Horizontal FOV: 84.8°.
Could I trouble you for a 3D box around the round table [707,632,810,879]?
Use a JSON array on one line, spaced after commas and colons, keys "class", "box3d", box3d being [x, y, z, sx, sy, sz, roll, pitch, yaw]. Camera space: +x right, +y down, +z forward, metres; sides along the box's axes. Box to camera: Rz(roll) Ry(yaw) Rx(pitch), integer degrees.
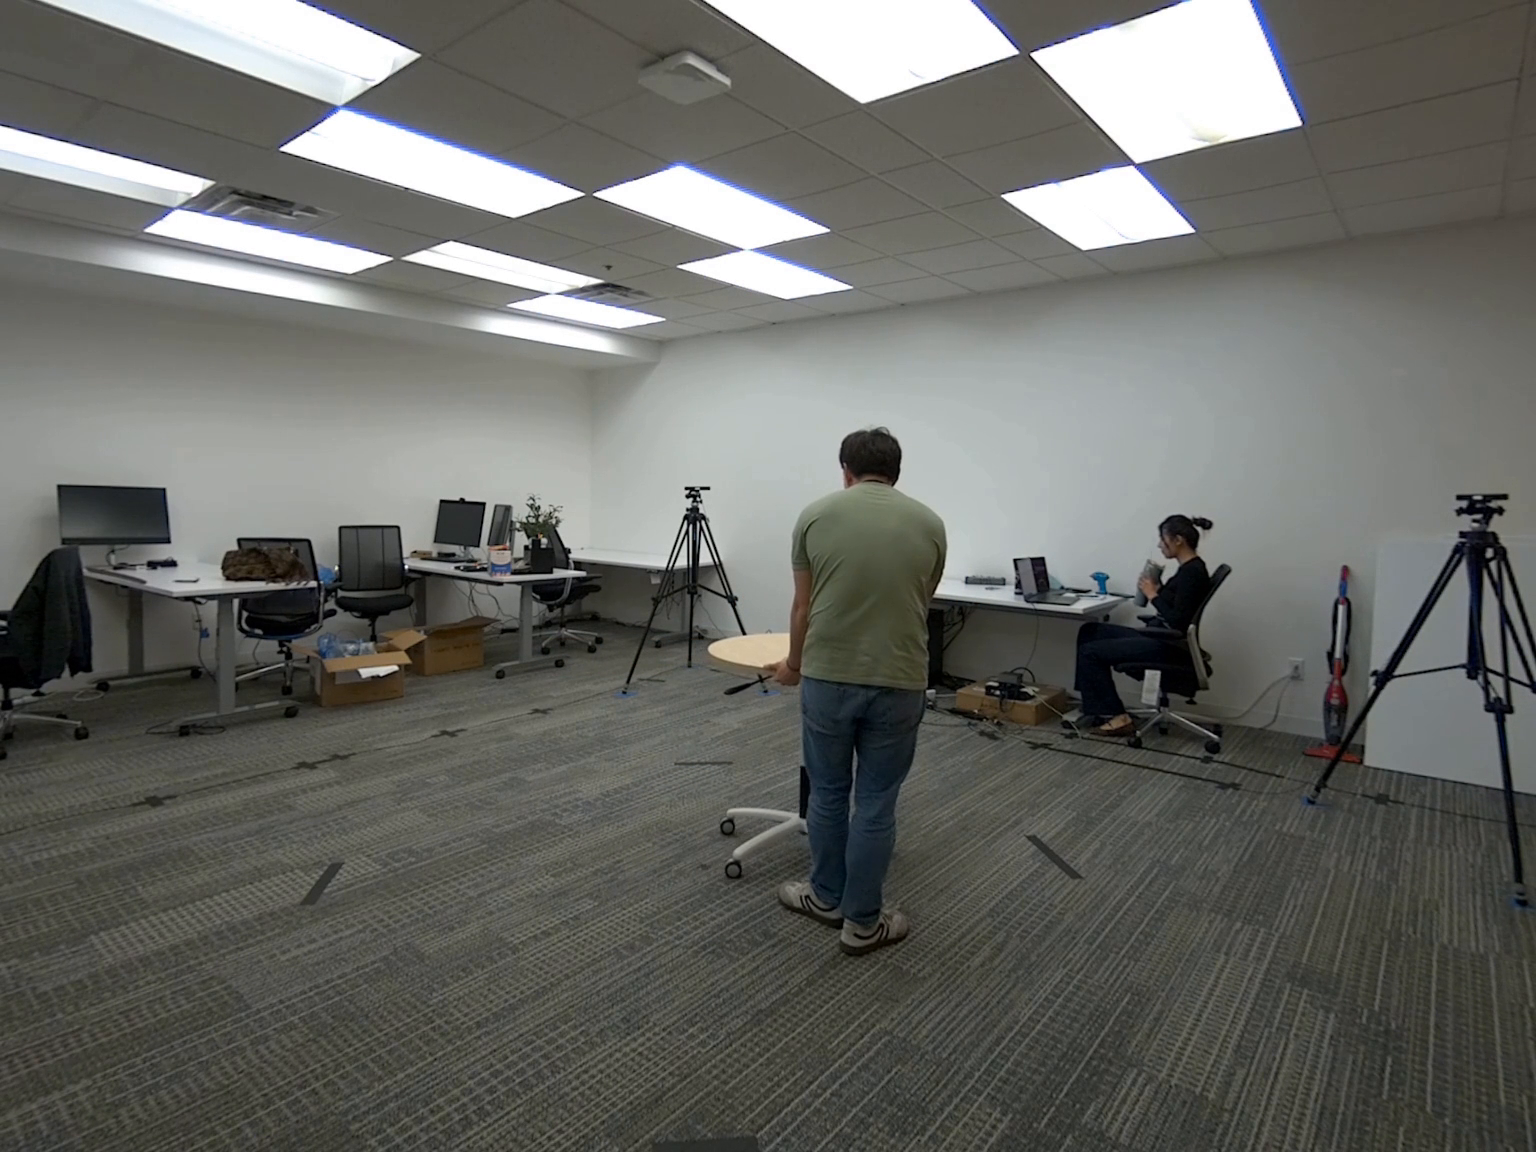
[{"class": "round table", "box3d": [0.134, 0.669, 3.240, 0.763, 0.791, 0.768, 1, 4, -2]}]
